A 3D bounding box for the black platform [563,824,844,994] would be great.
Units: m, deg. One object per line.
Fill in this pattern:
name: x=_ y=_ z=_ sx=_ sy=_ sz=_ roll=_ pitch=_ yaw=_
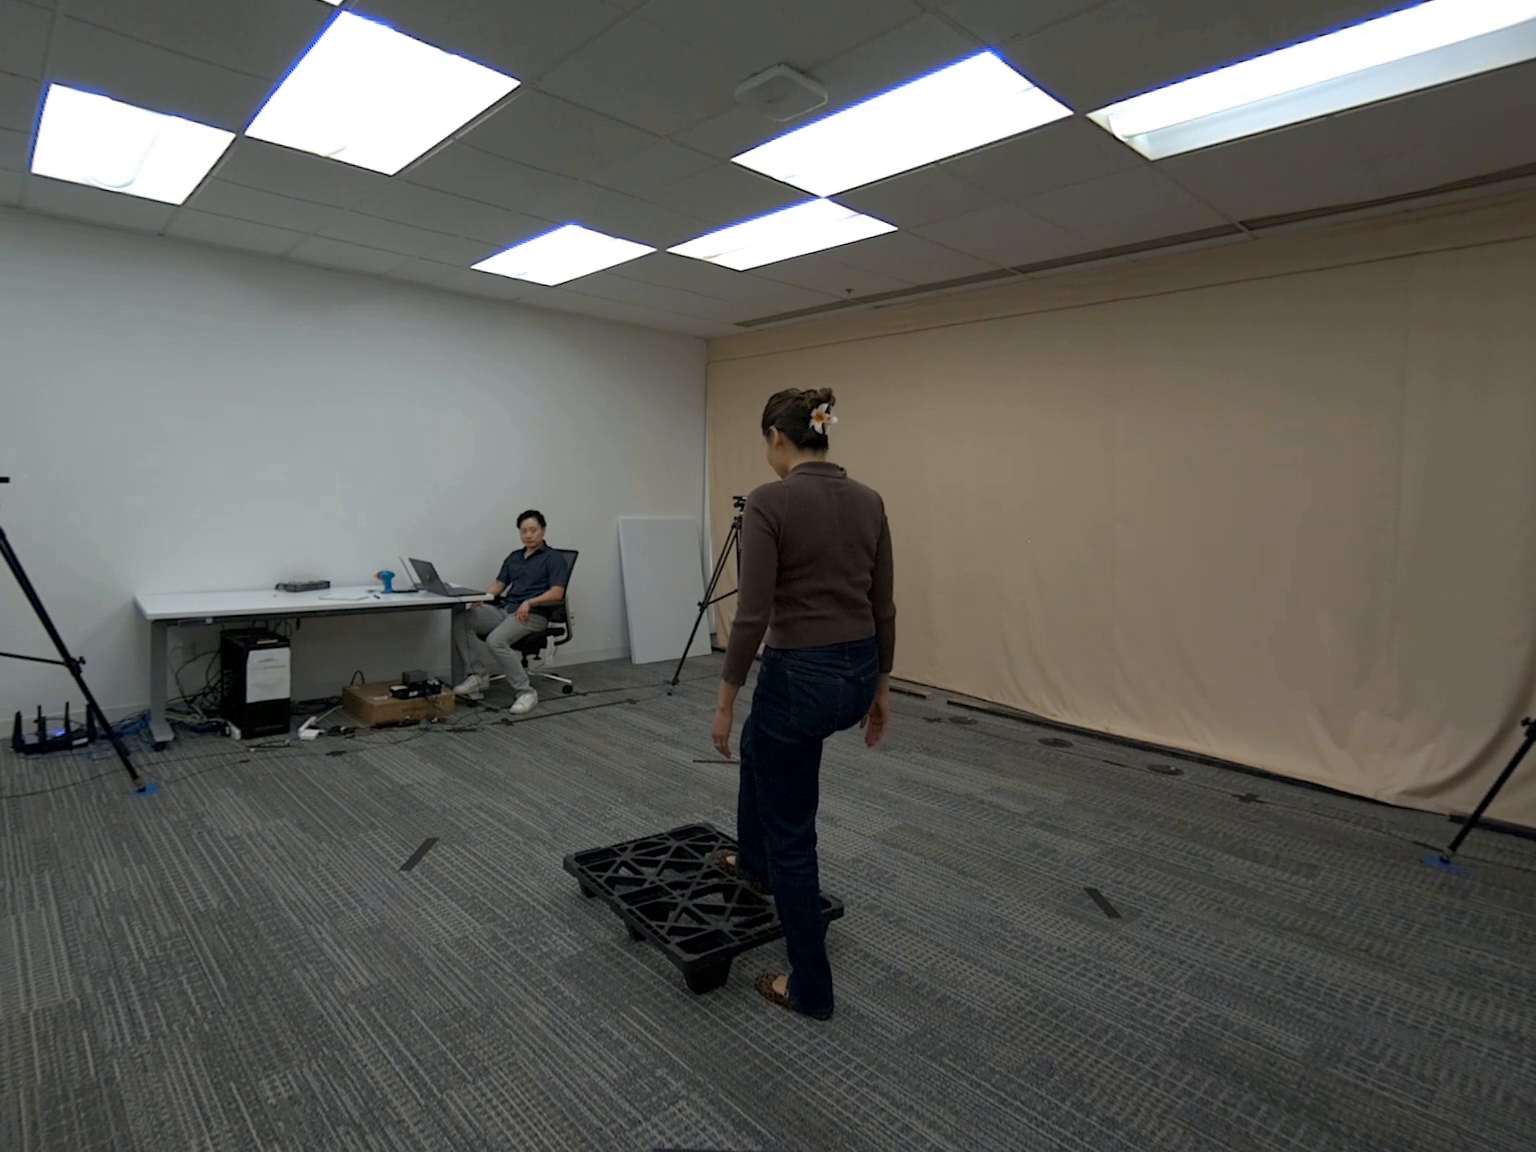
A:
black platform: x=-0.241 y=1.065 z=2.777 sx=0.592 sy=0.143 sz=0.826 roll=-2 pitch=6 yaw=-37
